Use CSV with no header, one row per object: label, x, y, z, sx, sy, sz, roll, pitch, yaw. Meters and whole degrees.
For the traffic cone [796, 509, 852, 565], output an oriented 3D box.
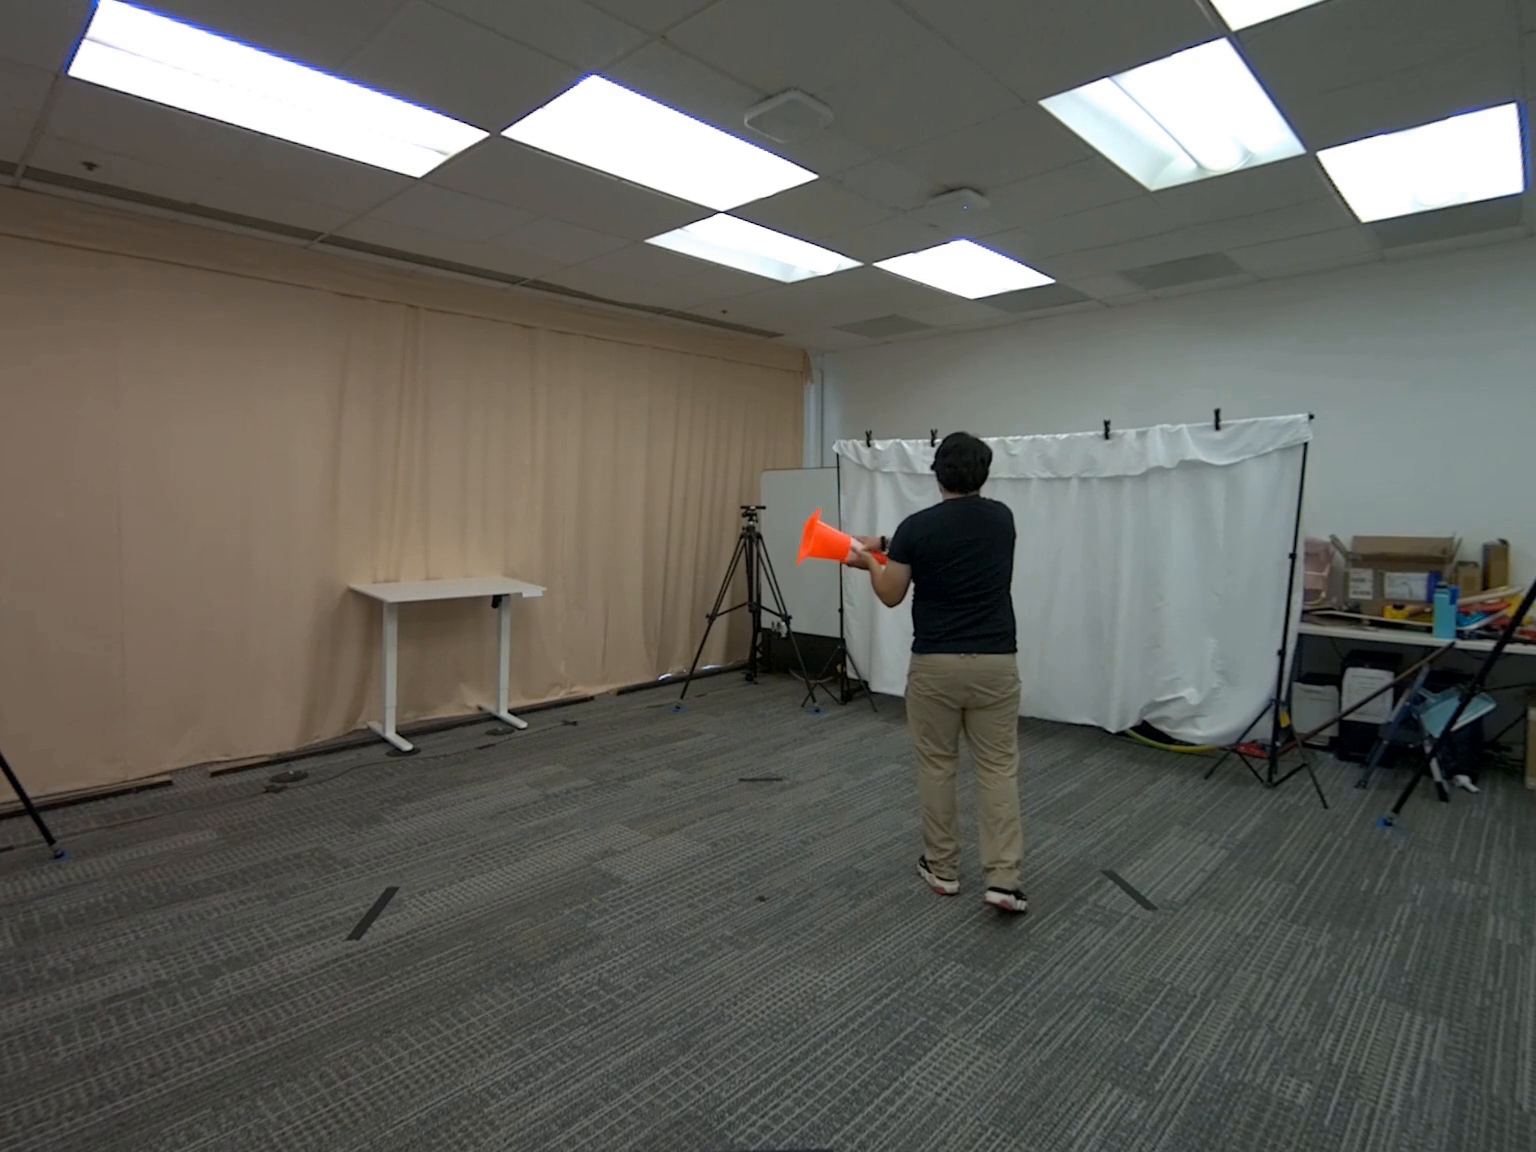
traffic cone,0.358,-0.101,3.397,0.381,0.205,0.204,13,-29,-7
